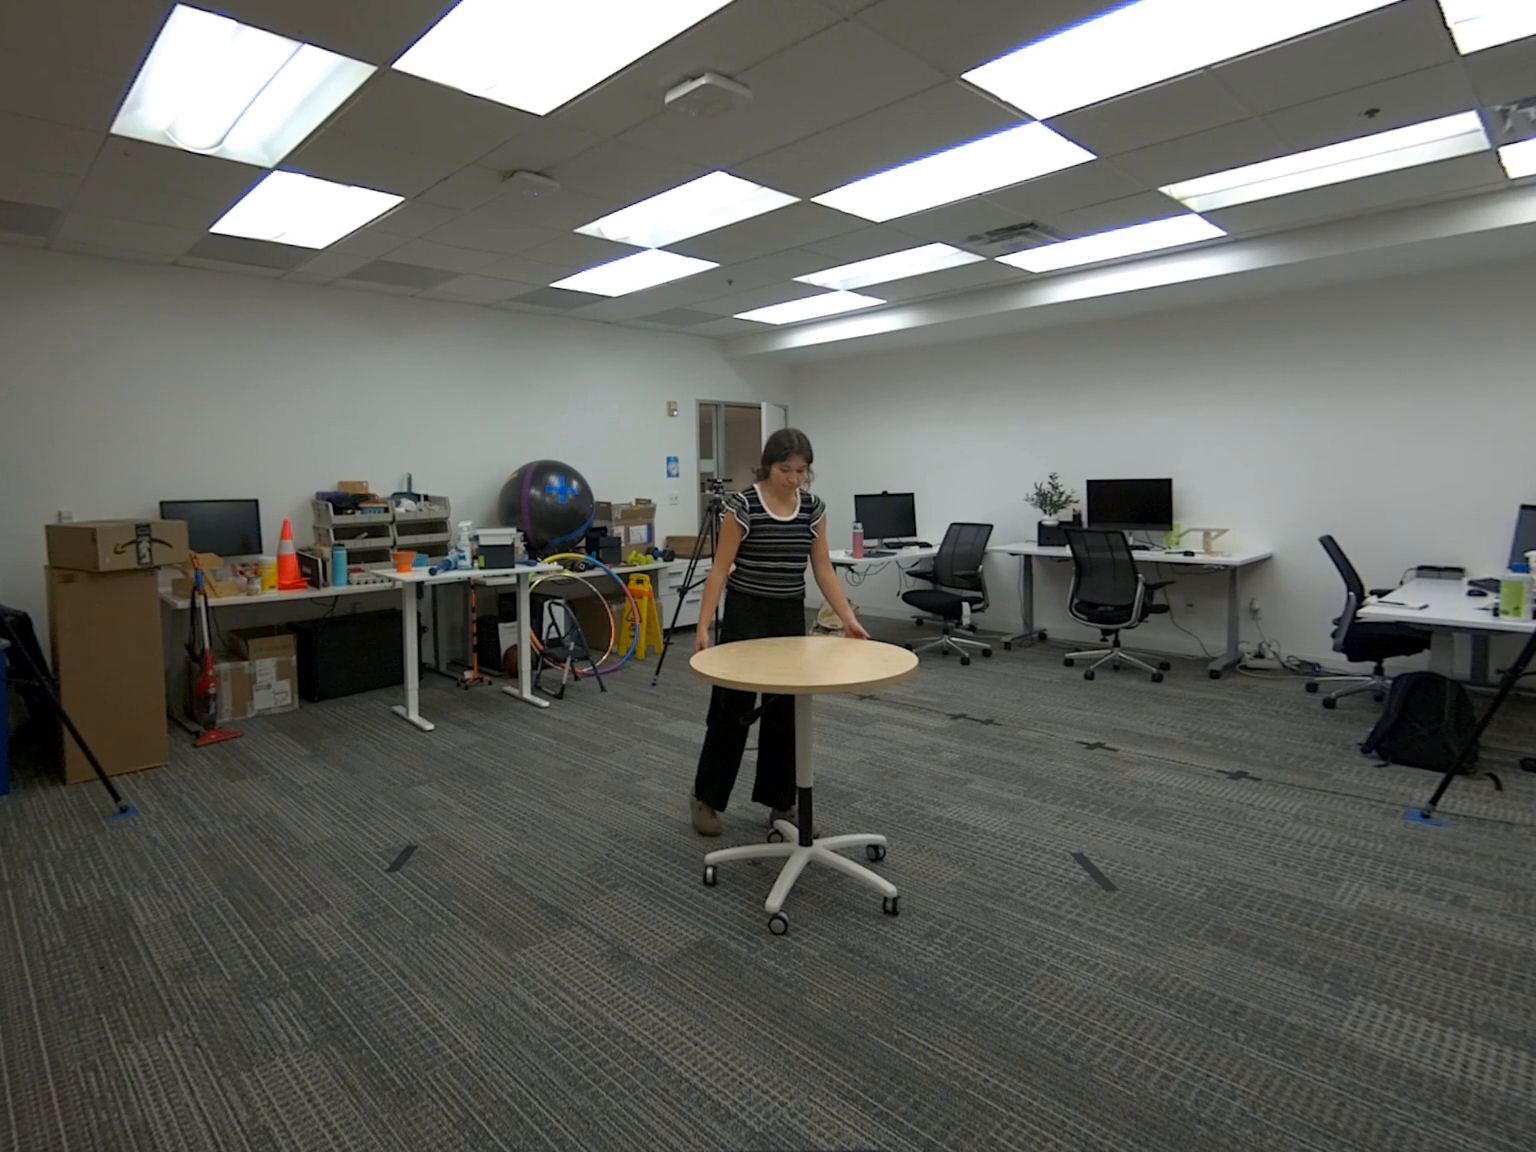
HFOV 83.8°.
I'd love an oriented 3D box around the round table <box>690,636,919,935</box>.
[{"bbox_3d":[0.126,0.670,2.928,0.784,0.783,0.789,-1,5,-2],"label":"round table"}]
